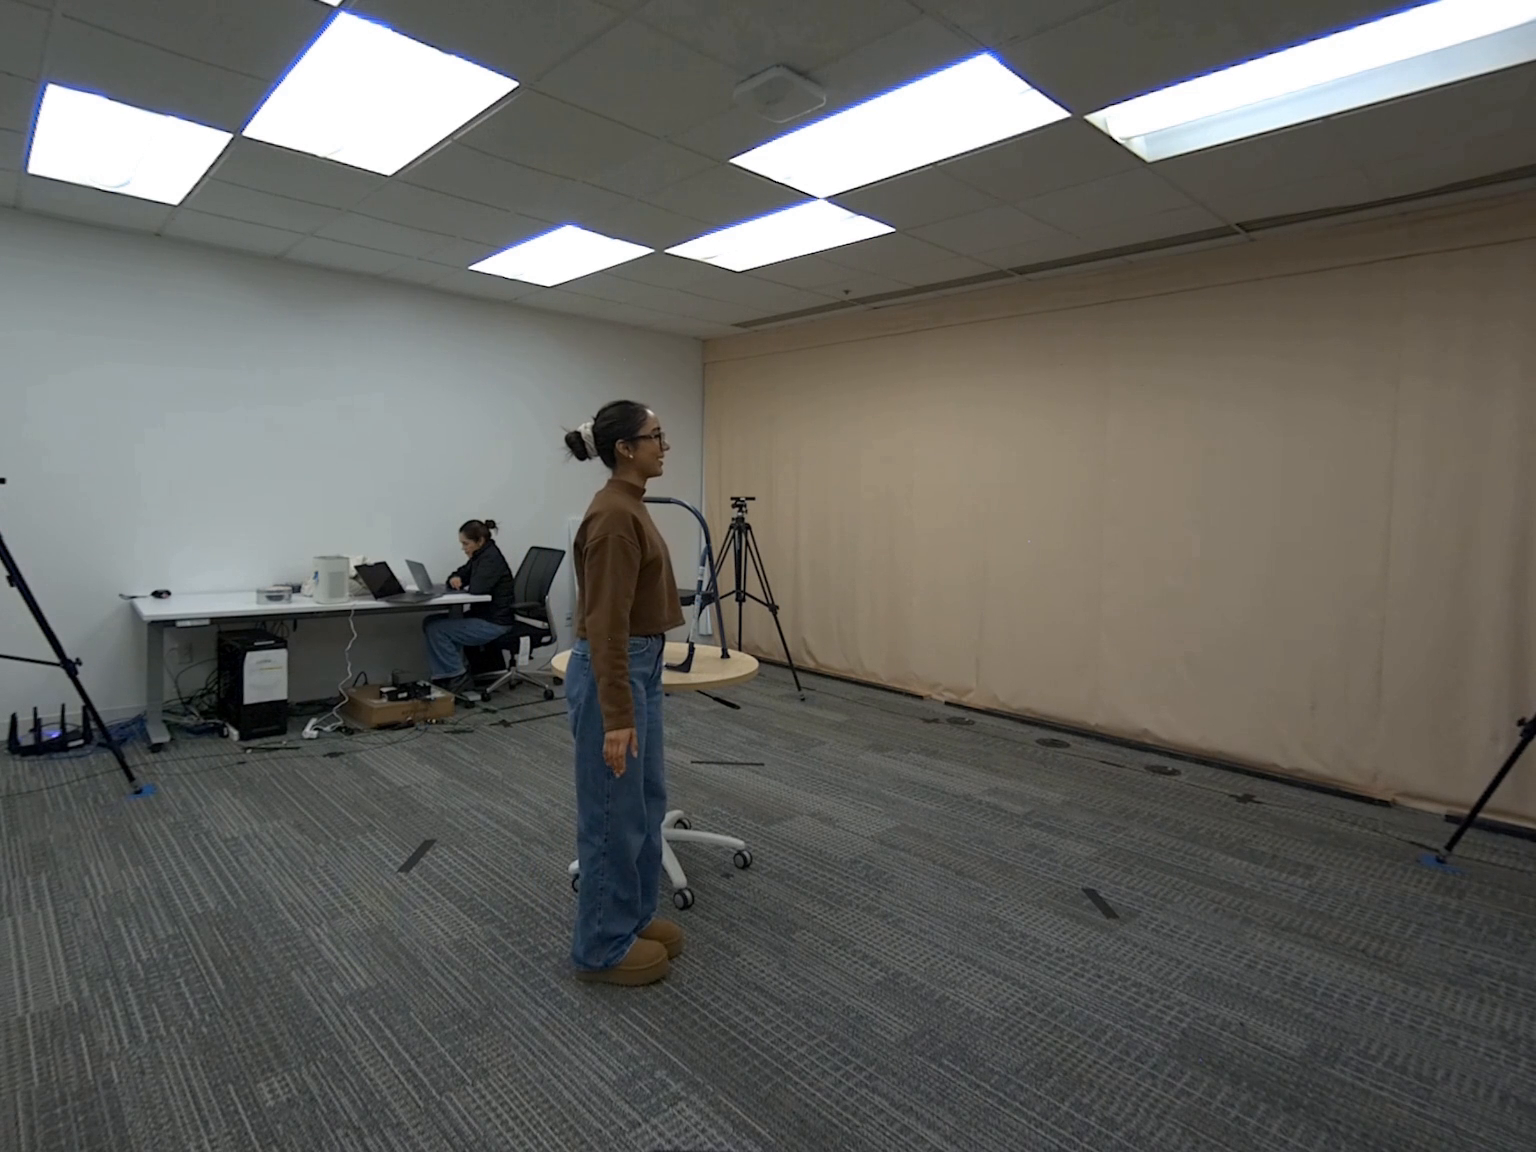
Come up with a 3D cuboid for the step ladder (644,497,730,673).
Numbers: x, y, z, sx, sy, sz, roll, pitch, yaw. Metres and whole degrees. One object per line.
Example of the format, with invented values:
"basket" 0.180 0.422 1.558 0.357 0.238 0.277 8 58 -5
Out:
"step ladder" -0.400 0.013 3.148 0.438 0.604 0.344 4 4 23
